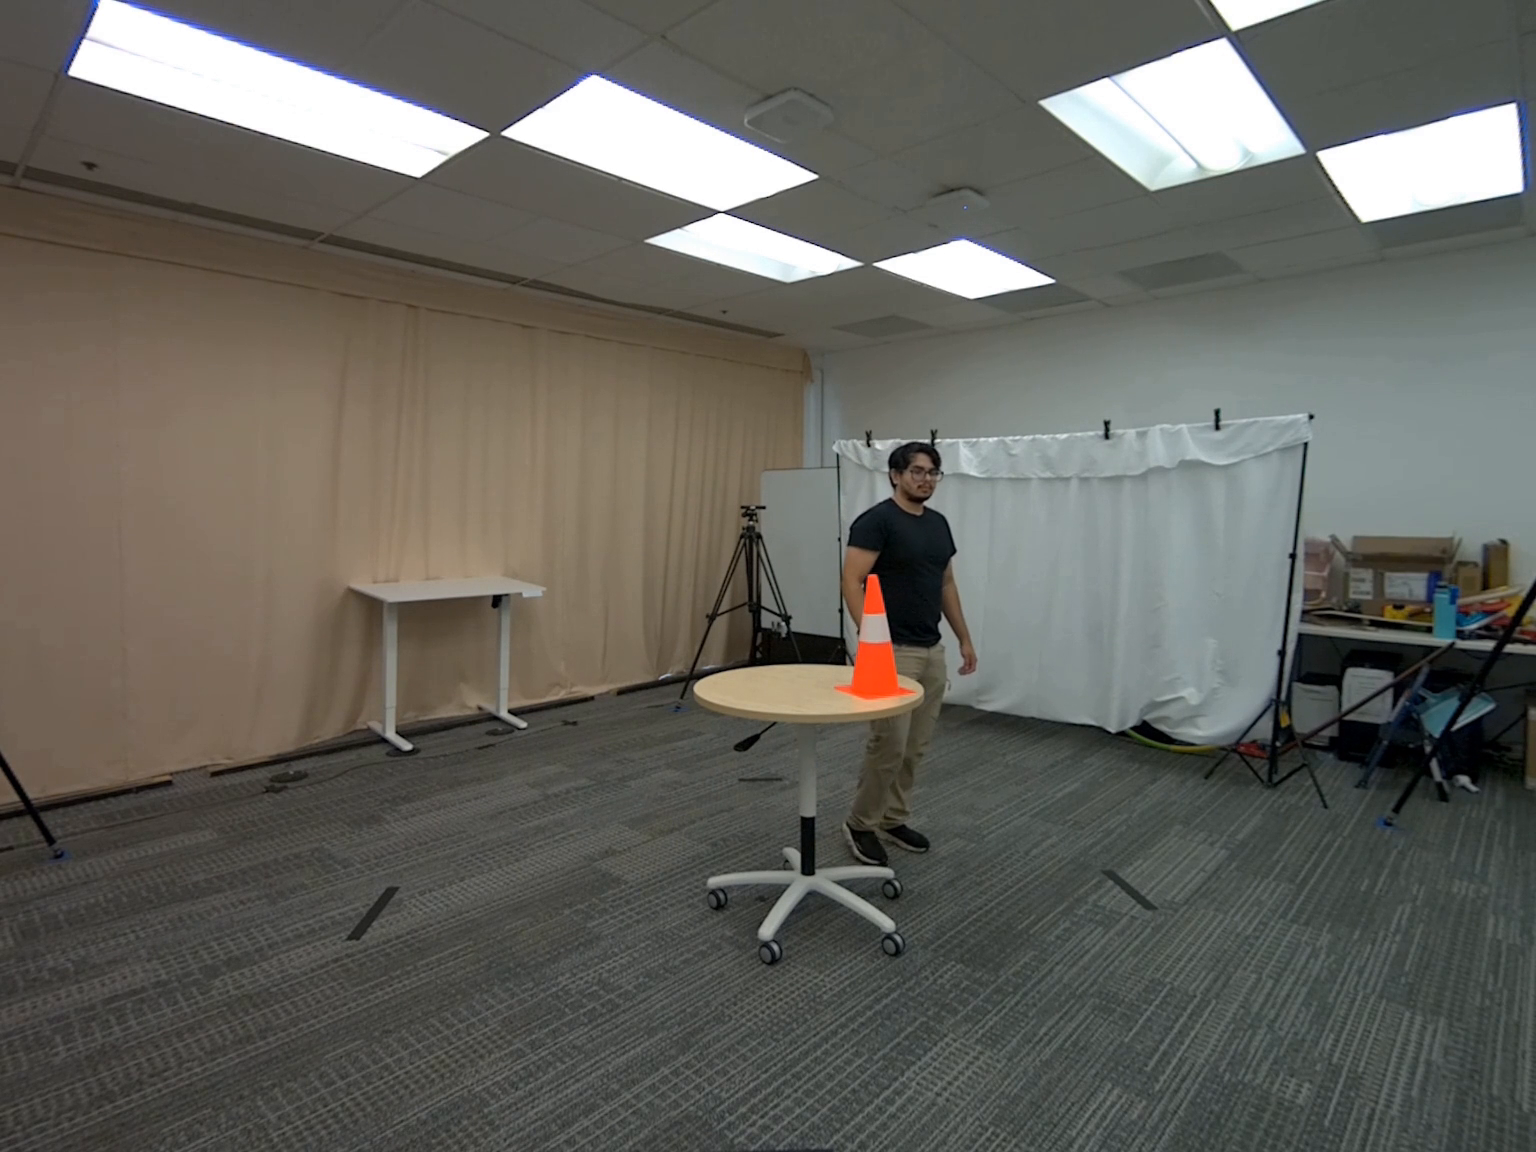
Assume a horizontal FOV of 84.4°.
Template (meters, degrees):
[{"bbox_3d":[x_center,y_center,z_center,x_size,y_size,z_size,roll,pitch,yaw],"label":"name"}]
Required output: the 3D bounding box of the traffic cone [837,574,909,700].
[{"bbox_3d":[0.353,0.189,2.745,0.198,0.383,0.211,-3,2,-33],"label":"traffic cone"}]
